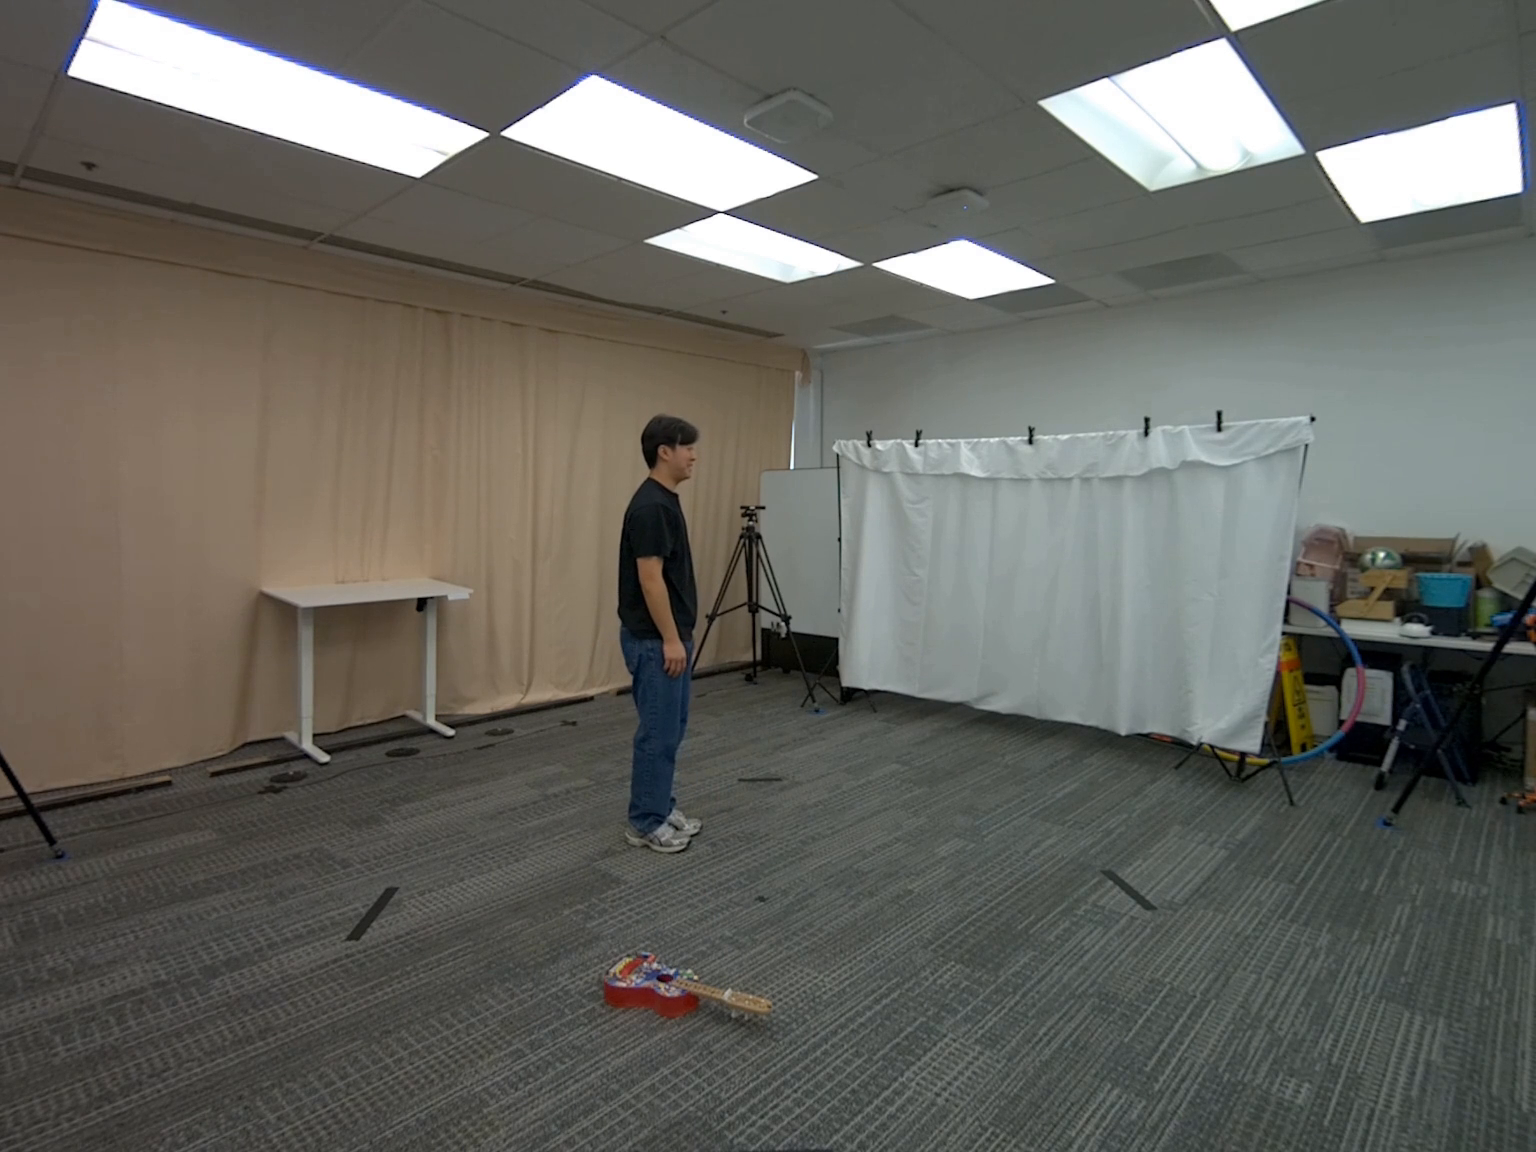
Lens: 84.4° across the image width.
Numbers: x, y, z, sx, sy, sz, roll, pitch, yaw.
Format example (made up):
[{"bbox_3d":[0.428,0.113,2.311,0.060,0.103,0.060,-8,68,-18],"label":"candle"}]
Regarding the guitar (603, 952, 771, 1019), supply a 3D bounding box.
[{"bbox_3d":[-0.235,1.167,2.320,0.513,0.070,0.187,3,5,35],"label":"guitar"}]
